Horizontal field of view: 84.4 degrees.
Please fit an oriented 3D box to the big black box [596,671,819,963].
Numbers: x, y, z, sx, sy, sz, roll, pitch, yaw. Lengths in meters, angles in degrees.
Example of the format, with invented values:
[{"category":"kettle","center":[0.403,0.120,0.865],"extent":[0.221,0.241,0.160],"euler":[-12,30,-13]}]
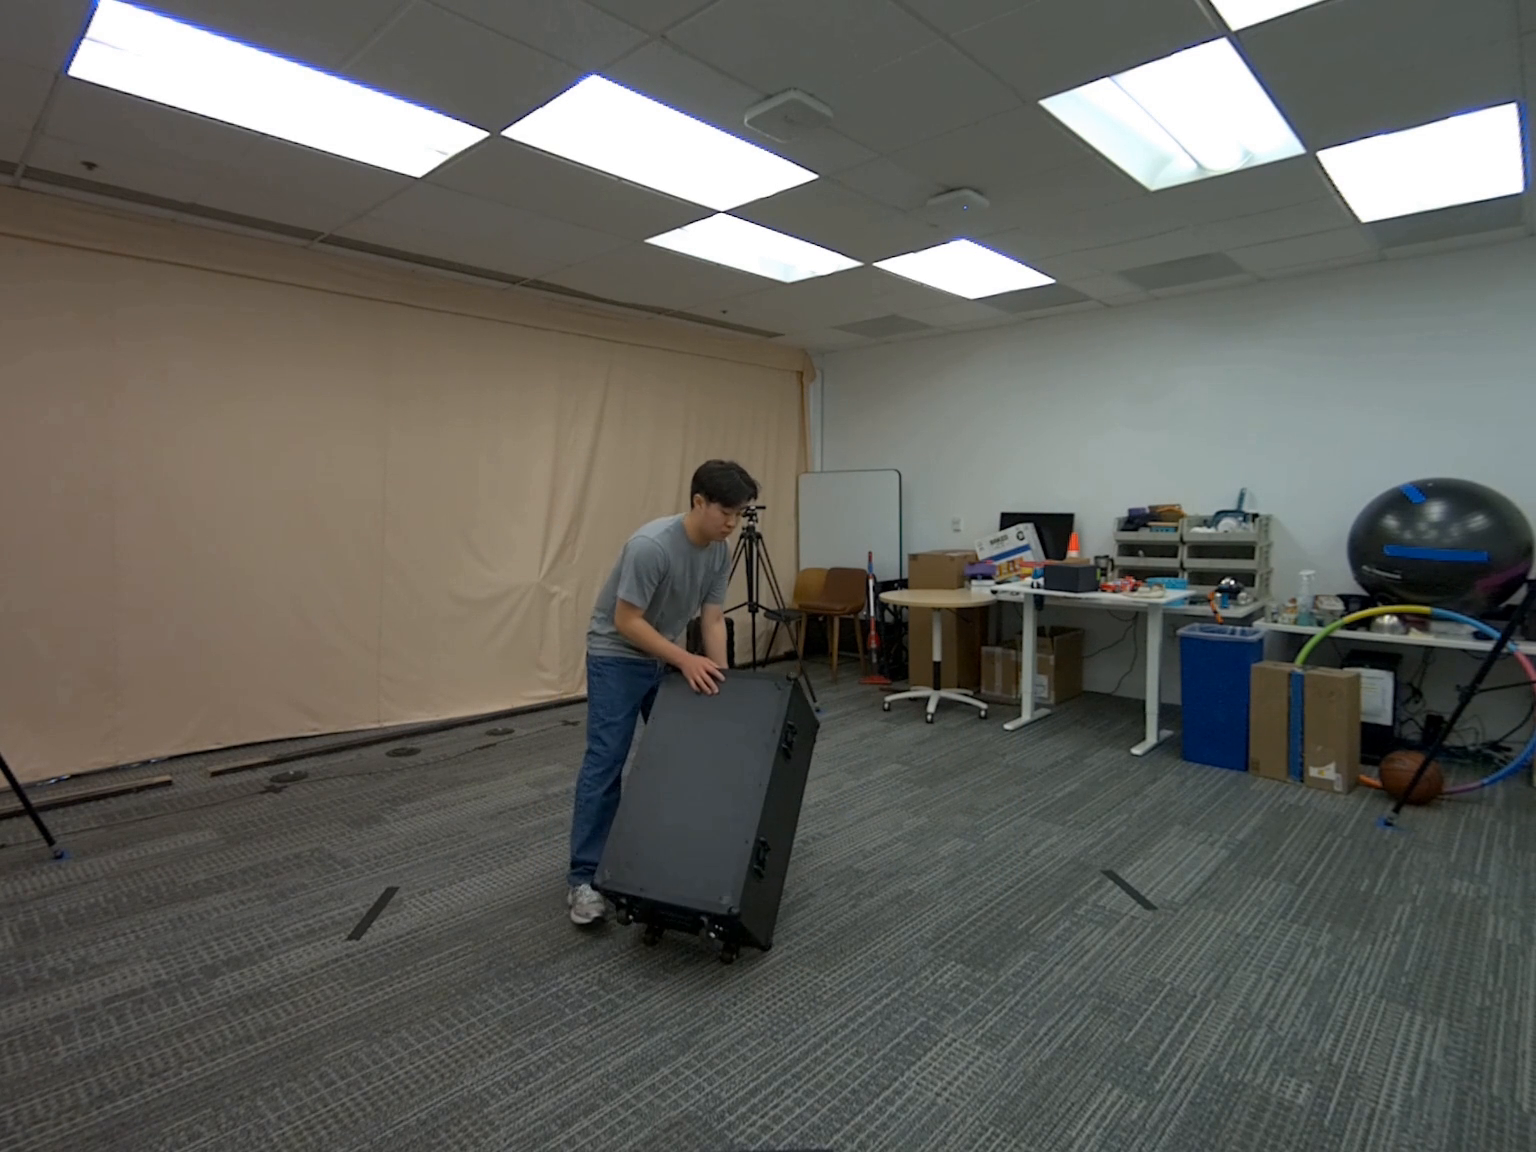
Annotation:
[{"category":"big black box","center":[-0.177,0.768,2.765],"extent":[0.534,0.868,0.384],"euler":[1,-37,23]}]
